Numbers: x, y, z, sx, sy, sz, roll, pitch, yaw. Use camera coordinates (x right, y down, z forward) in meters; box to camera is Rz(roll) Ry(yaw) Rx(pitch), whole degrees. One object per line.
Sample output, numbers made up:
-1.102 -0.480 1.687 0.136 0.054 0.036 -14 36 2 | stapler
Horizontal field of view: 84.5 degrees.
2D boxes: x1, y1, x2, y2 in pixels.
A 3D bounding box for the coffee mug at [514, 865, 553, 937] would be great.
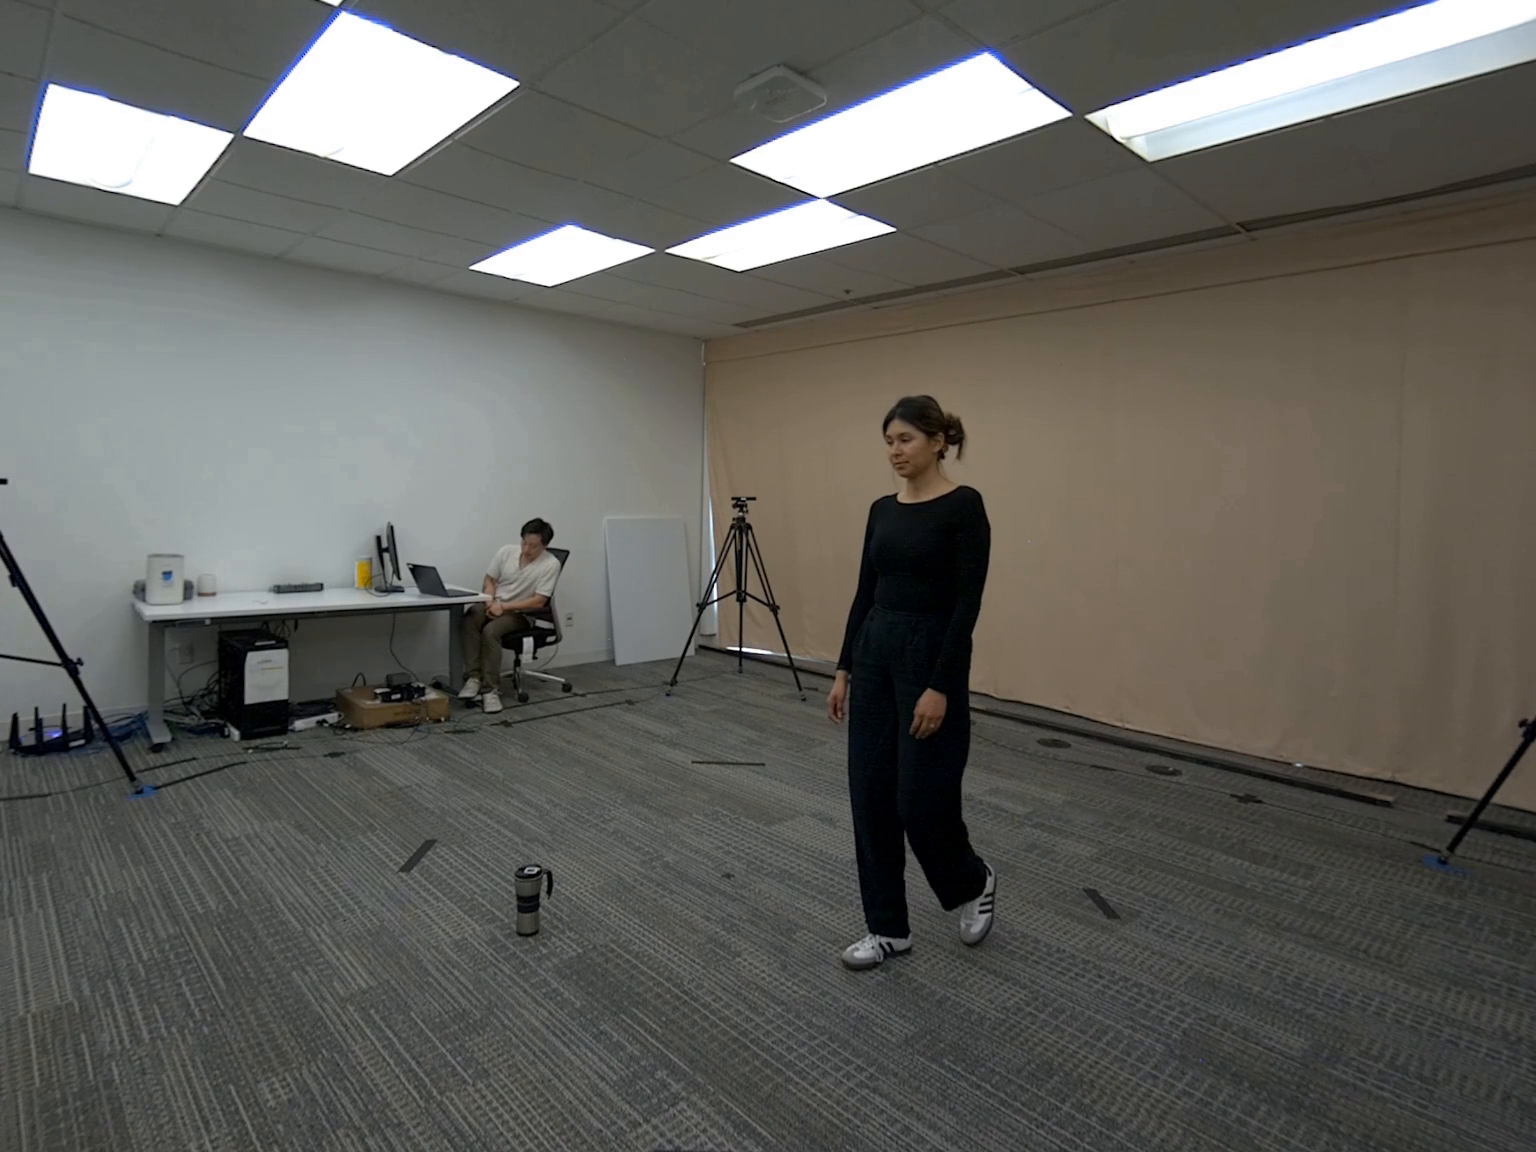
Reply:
-0.740 1.029 2.680 0.120 0.202 0.089 -4 2 -18 | coffee mug
